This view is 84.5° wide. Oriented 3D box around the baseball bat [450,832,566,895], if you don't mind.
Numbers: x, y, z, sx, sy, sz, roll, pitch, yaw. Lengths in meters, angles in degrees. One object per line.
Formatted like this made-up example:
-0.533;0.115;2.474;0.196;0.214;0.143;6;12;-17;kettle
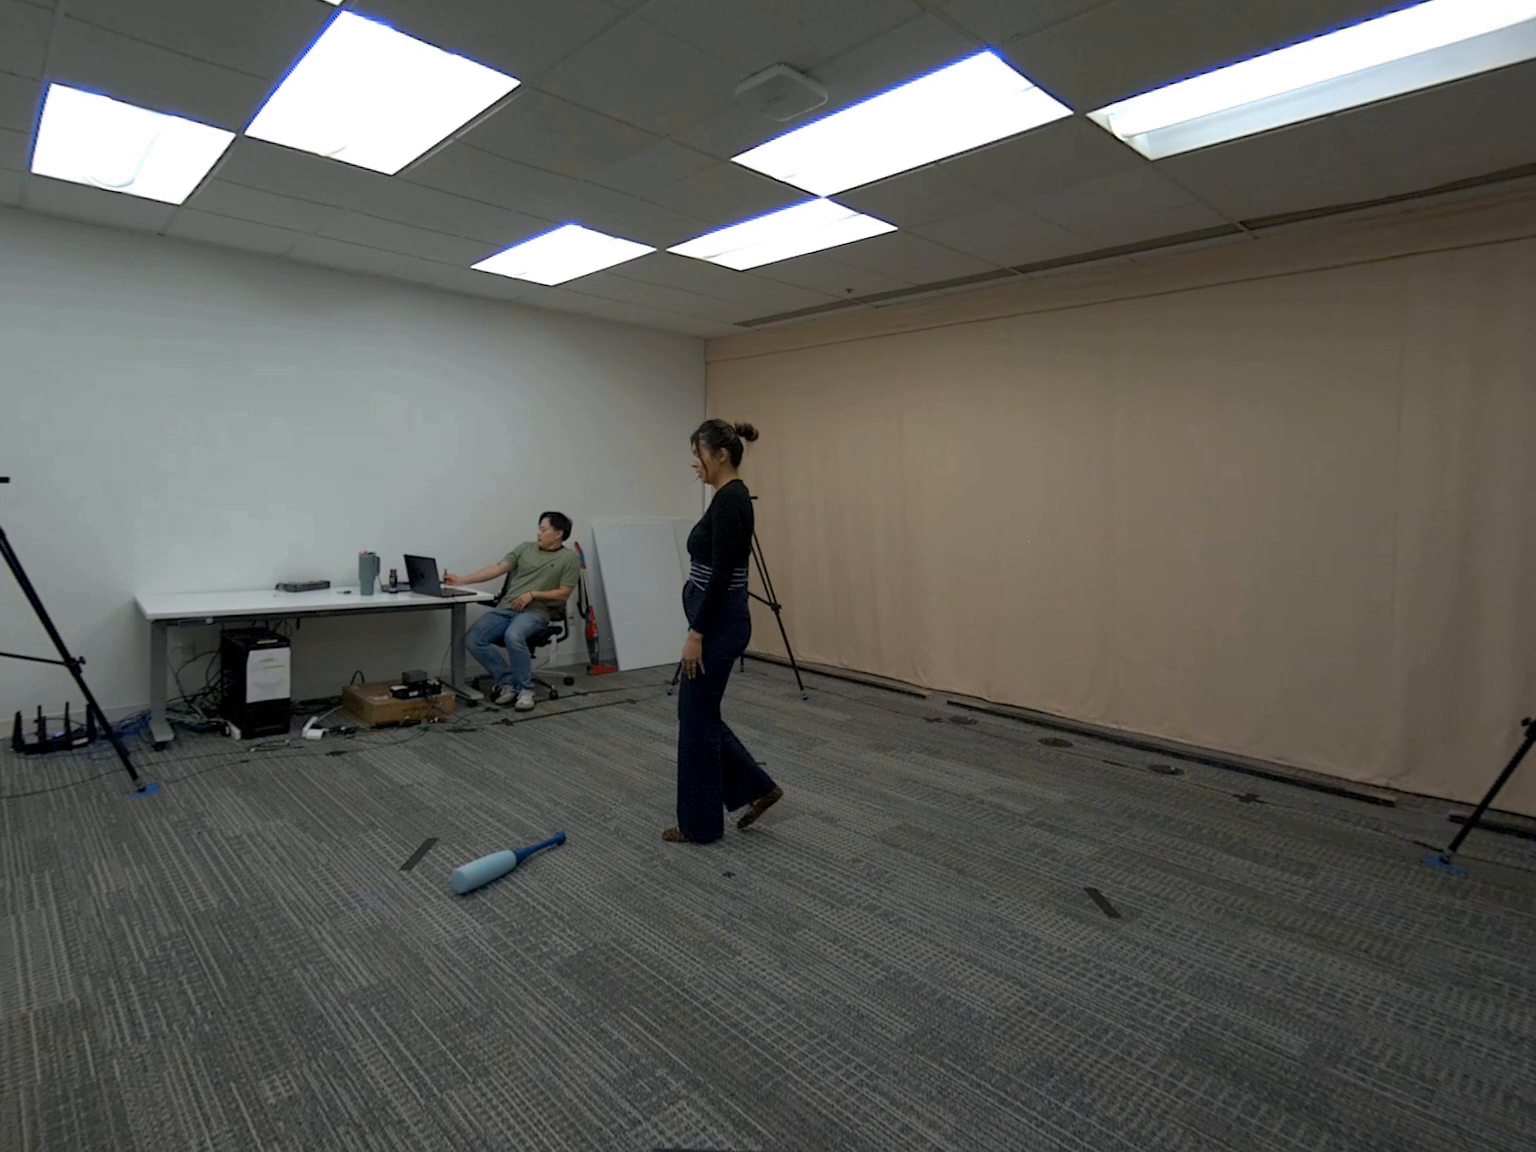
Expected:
-0.951;1.047;3.118;0.091;0.089;0.533;3;3;26;baseball bat
